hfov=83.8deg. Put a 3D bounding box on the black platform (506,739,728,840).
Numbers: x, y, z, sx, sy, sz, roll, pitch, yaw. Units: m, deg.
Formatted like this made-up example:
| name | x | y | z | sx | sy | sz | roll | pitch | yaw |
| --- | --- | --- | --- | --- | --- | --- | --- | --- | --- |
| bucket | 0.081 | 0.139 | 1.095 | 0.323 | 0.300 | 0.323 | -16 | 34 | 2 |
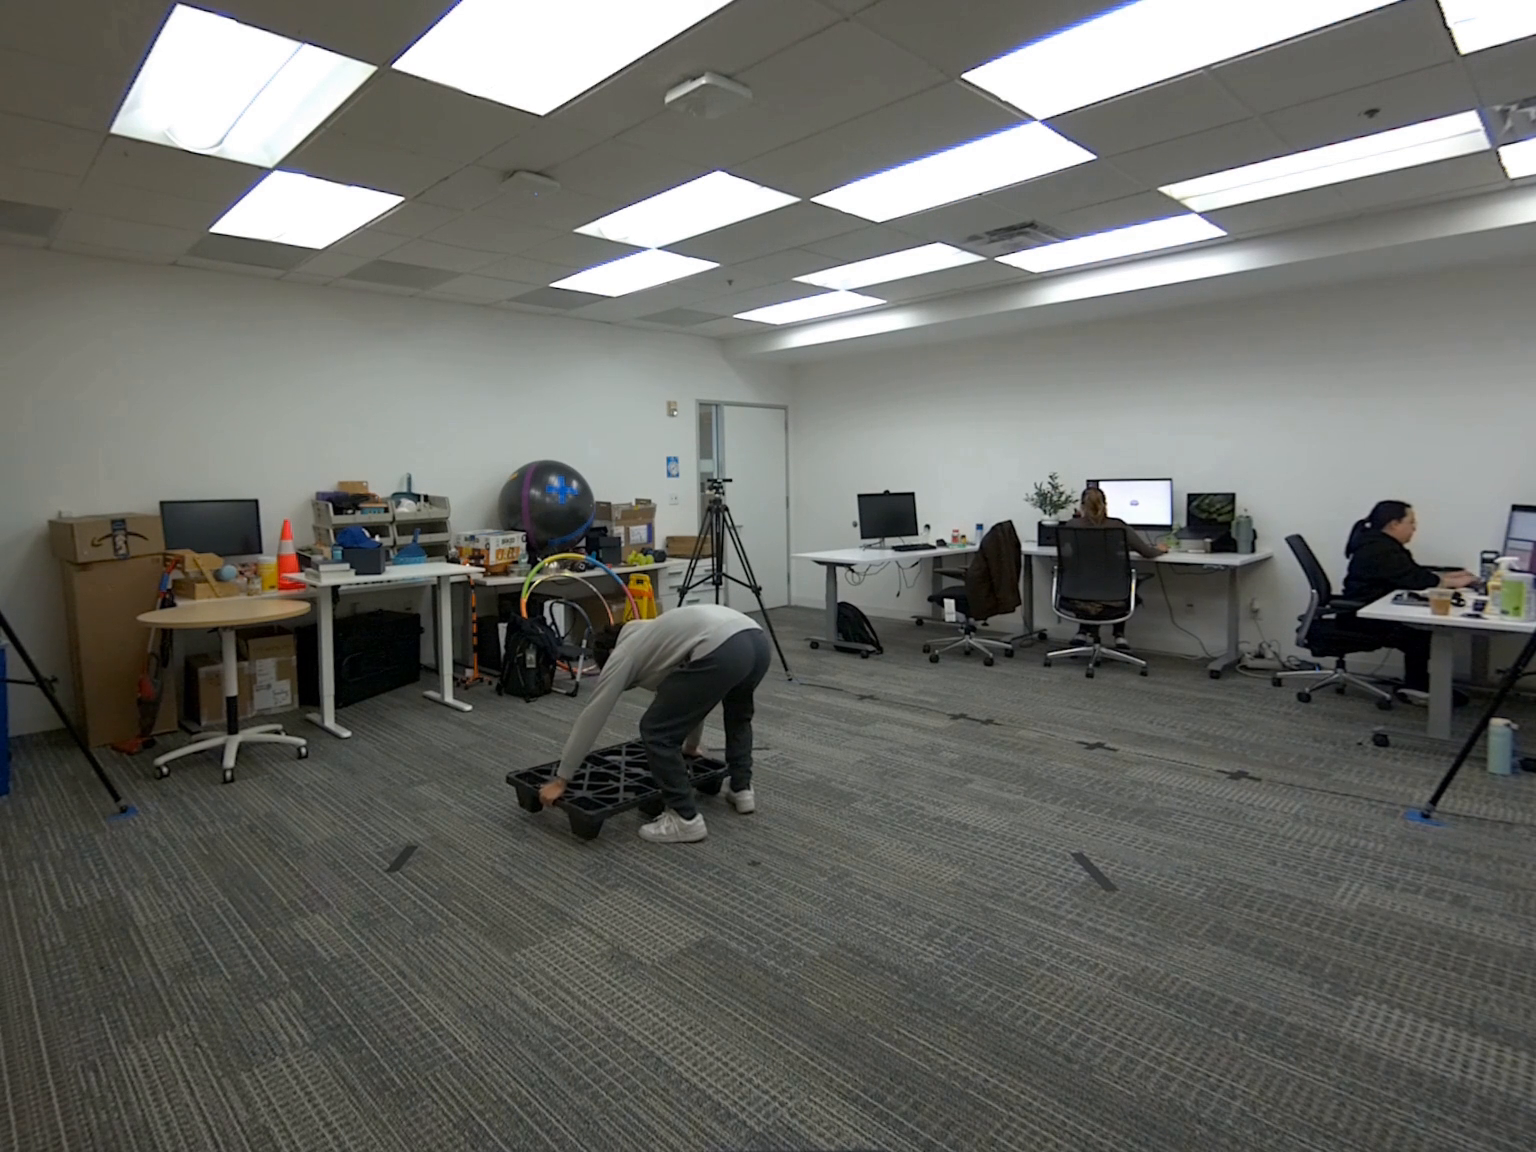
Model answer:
| name | x | y | z | sx | sy | sz | roll | pitch | yaw |
| --- | --- | --- | --- | --- | --- | --- | --- | --- | --- |
| black platform | -0.620 | 0.901 | 3.680 | 0.624 | 0.142 | 0.784 | 7 | 9 | 41 |
